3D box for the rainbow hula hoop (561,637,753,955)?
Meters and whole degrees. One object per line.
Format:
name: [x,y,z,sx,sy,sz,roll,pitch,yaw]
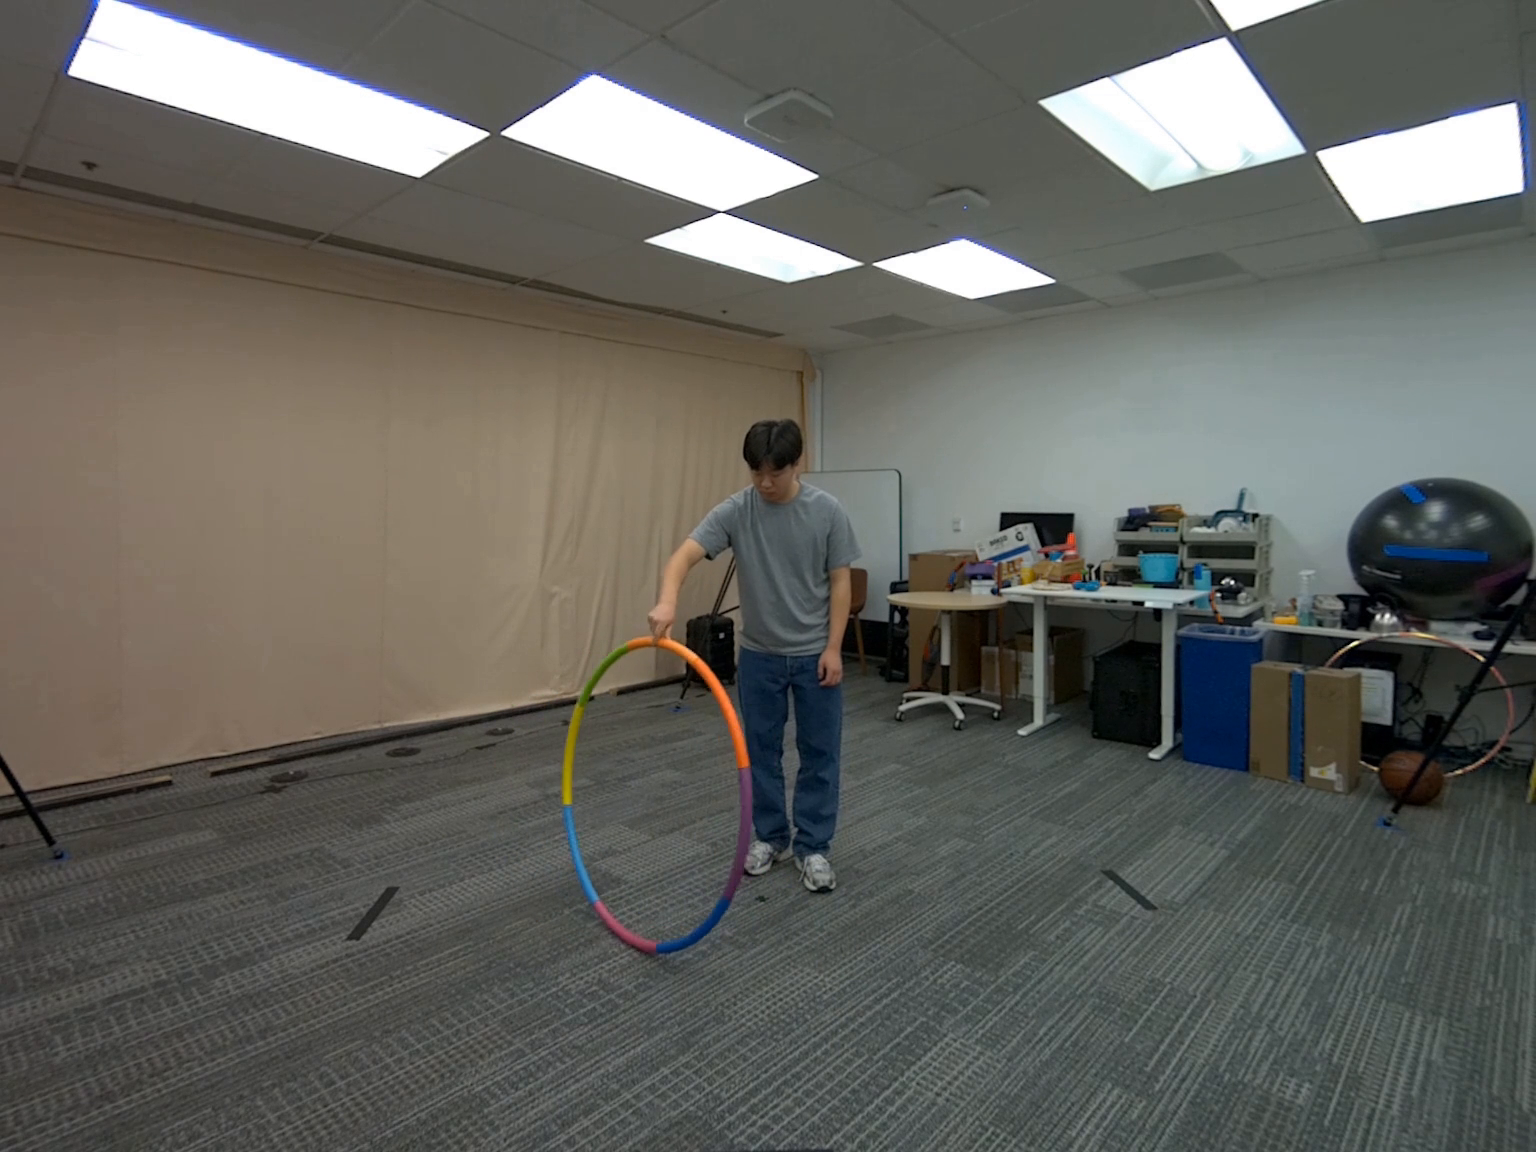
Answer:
rainbow hula hoop: [-0.397,0.686,2.724,0.034,0.980,1.011,11,-5,-42]
